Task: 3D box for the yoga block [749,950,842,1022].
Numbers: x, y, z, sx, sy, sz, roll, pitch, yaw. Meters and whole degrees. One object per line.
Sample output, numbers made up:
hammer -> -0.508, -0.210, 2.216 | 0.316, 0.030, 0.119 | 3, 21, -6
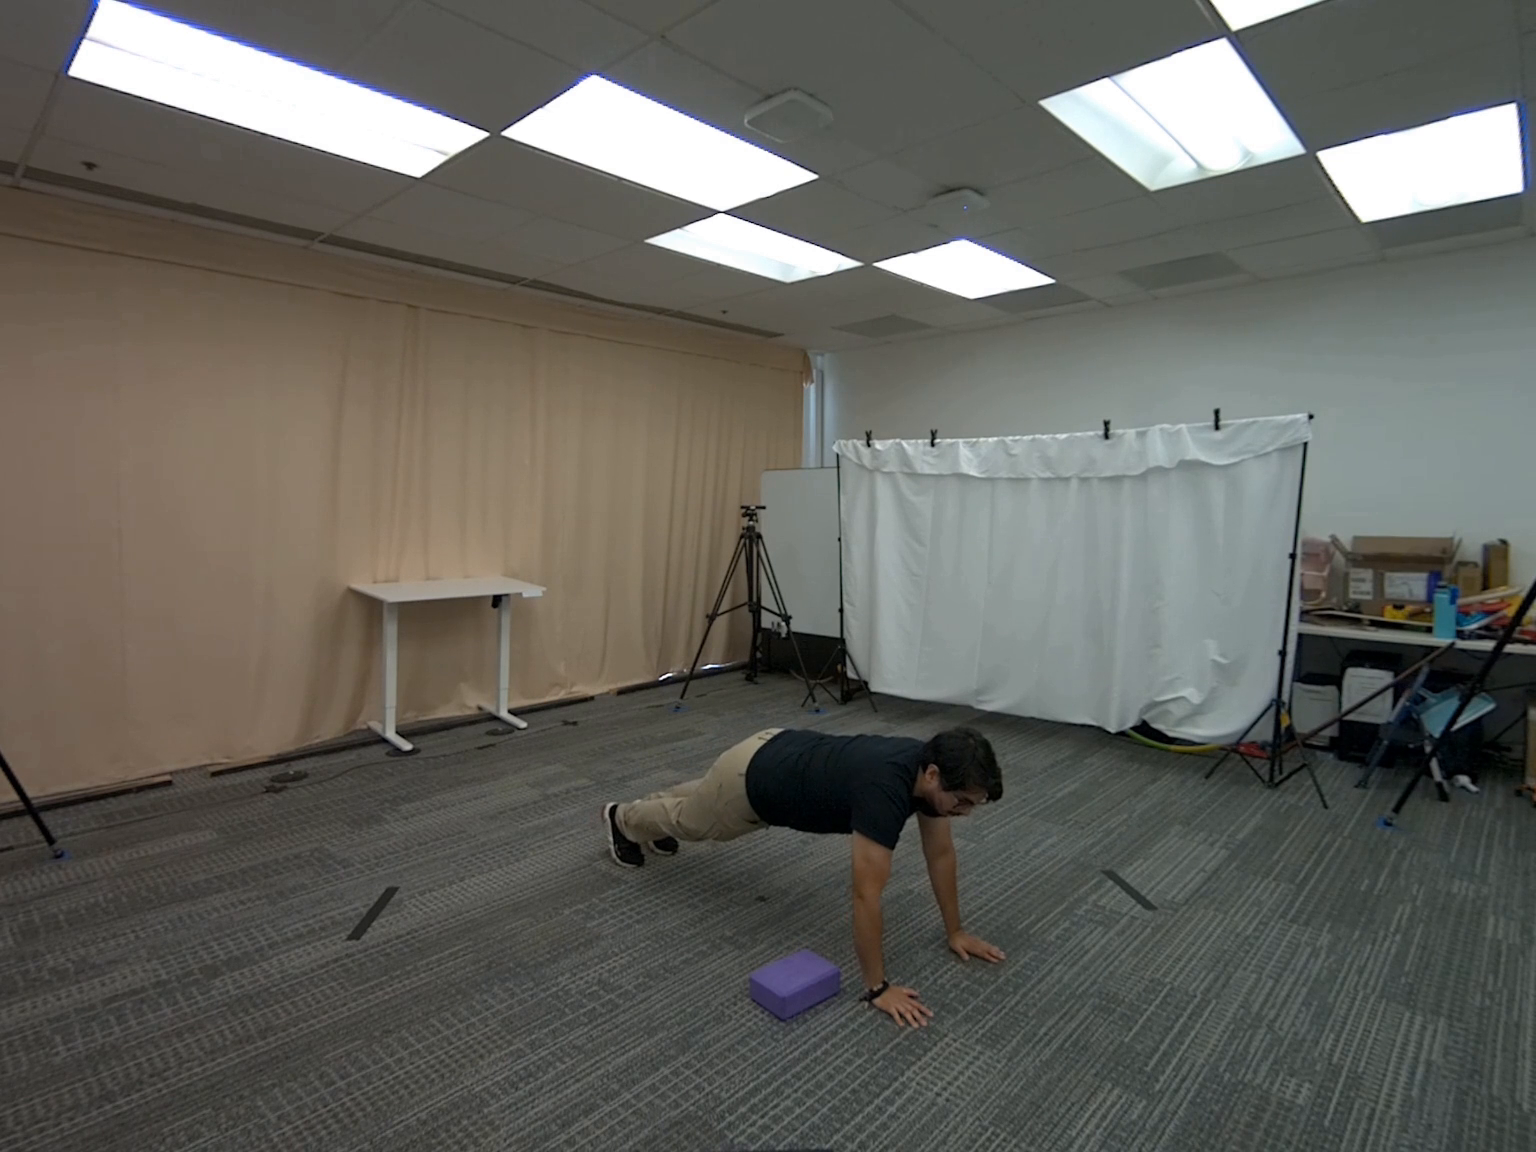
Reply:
yoga block -> 0.083, 1.147, 2.389 | 0.222, 0.076, 0.154 | -3, 5, -41
